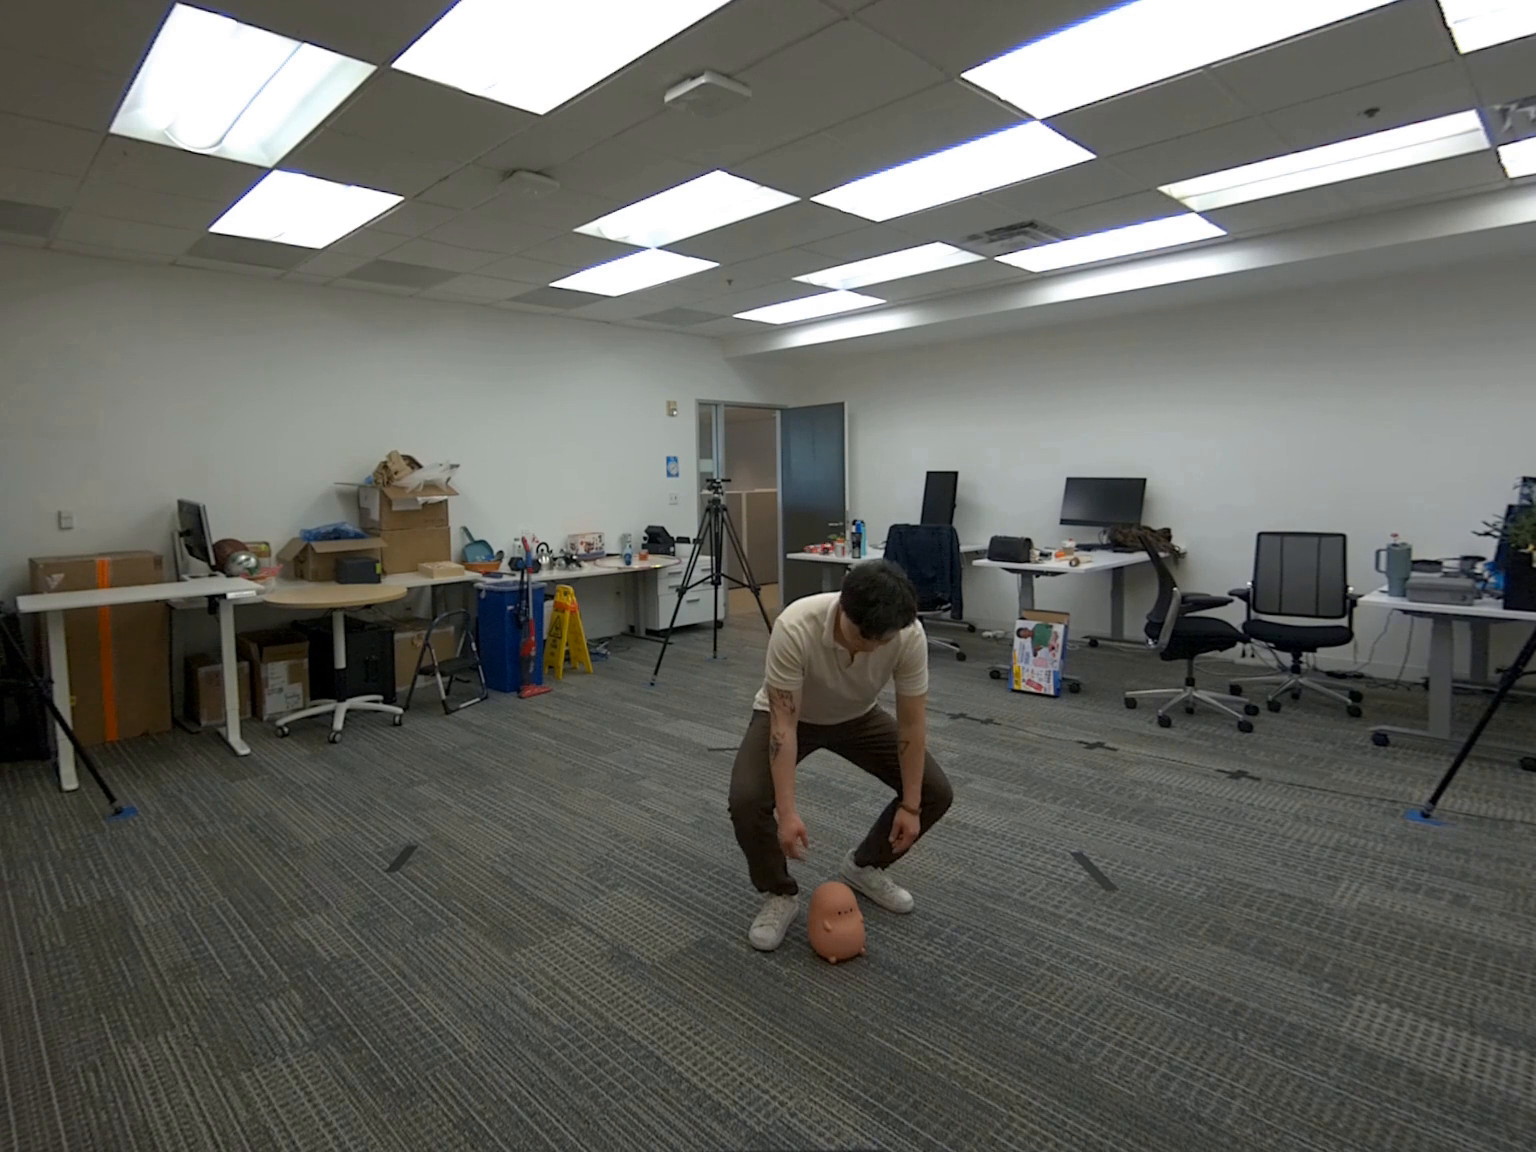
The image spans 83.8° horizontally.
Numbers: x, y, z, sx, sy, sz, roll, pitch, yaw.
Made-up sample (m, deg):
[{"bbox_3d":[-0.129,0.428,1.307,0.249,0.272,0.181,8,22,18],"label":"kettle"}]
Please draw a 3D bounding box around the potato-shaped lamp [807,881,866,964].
[{"bbox_3d":[0.210,1.011,2.520,0.162,0.198,0.174,-4,2,-20],"label":"potato-shaped lamp"}]
